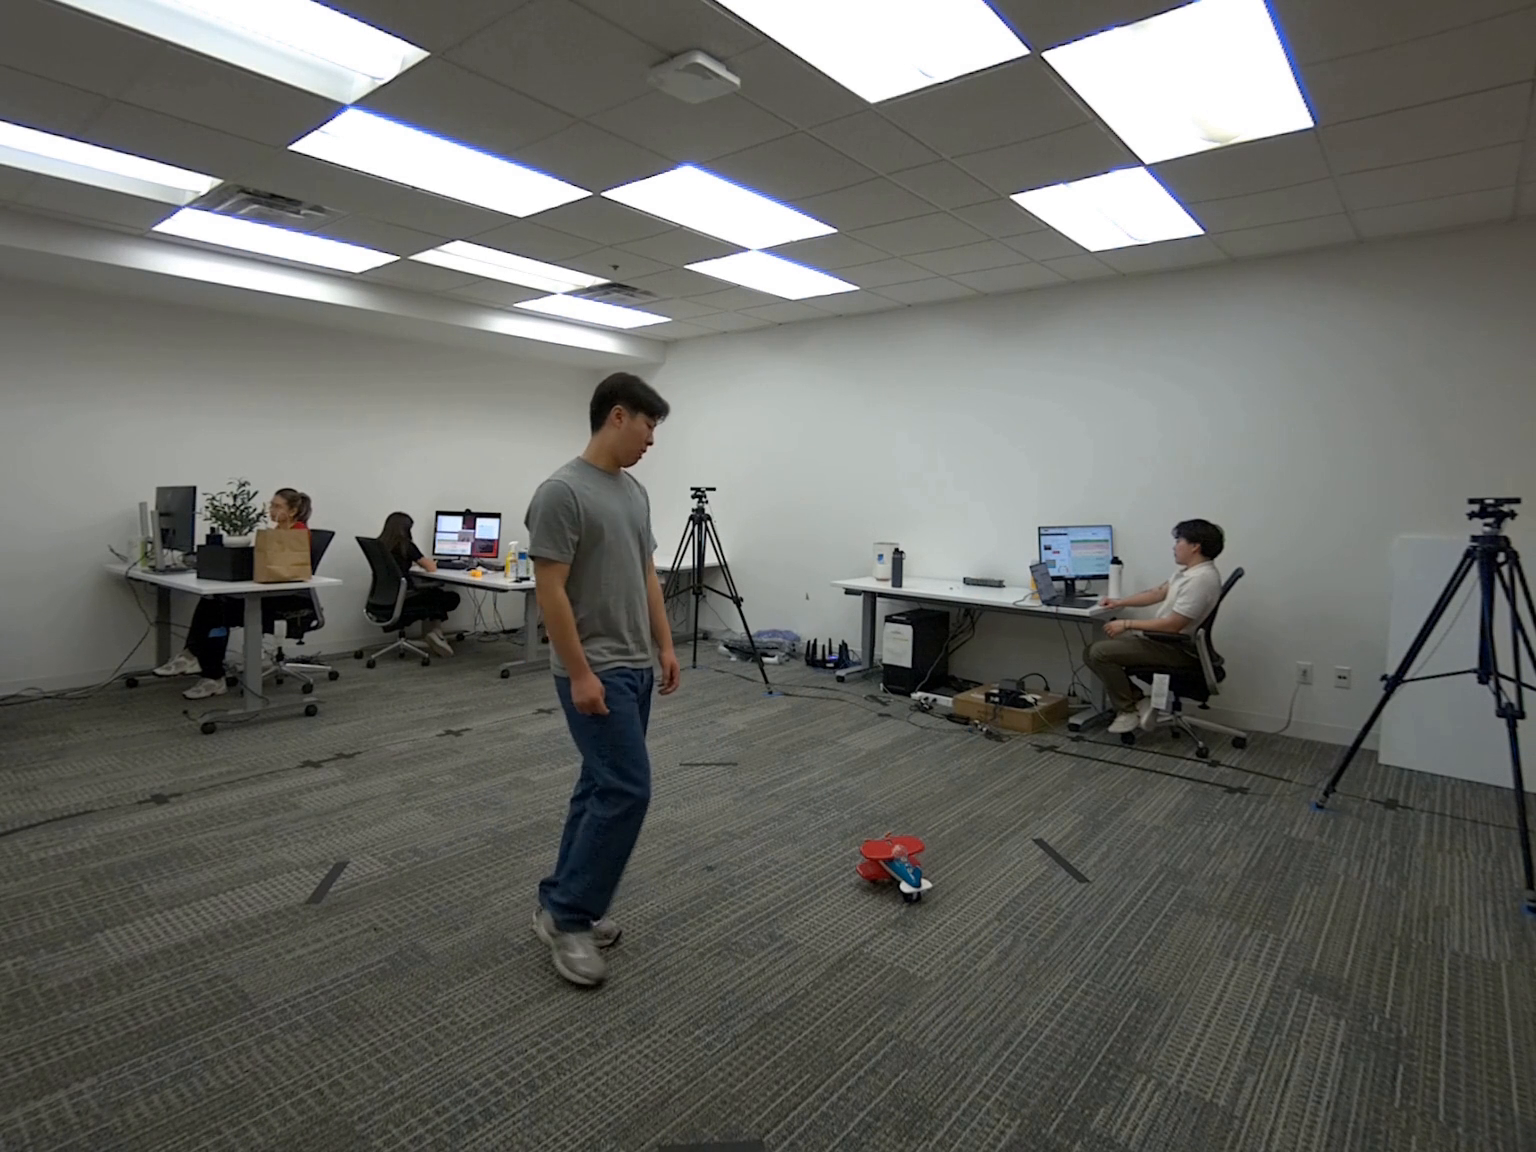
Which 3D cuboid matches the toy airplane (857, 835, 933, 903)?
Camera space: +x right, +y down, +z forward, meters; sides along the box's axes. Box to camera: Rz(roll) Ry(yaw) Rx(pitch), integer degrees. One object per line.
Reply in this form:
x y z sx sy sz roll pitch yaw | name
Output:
0.464 1.023 2.986 0.268 0.156 0.244 4 6 36 | toy airplane
